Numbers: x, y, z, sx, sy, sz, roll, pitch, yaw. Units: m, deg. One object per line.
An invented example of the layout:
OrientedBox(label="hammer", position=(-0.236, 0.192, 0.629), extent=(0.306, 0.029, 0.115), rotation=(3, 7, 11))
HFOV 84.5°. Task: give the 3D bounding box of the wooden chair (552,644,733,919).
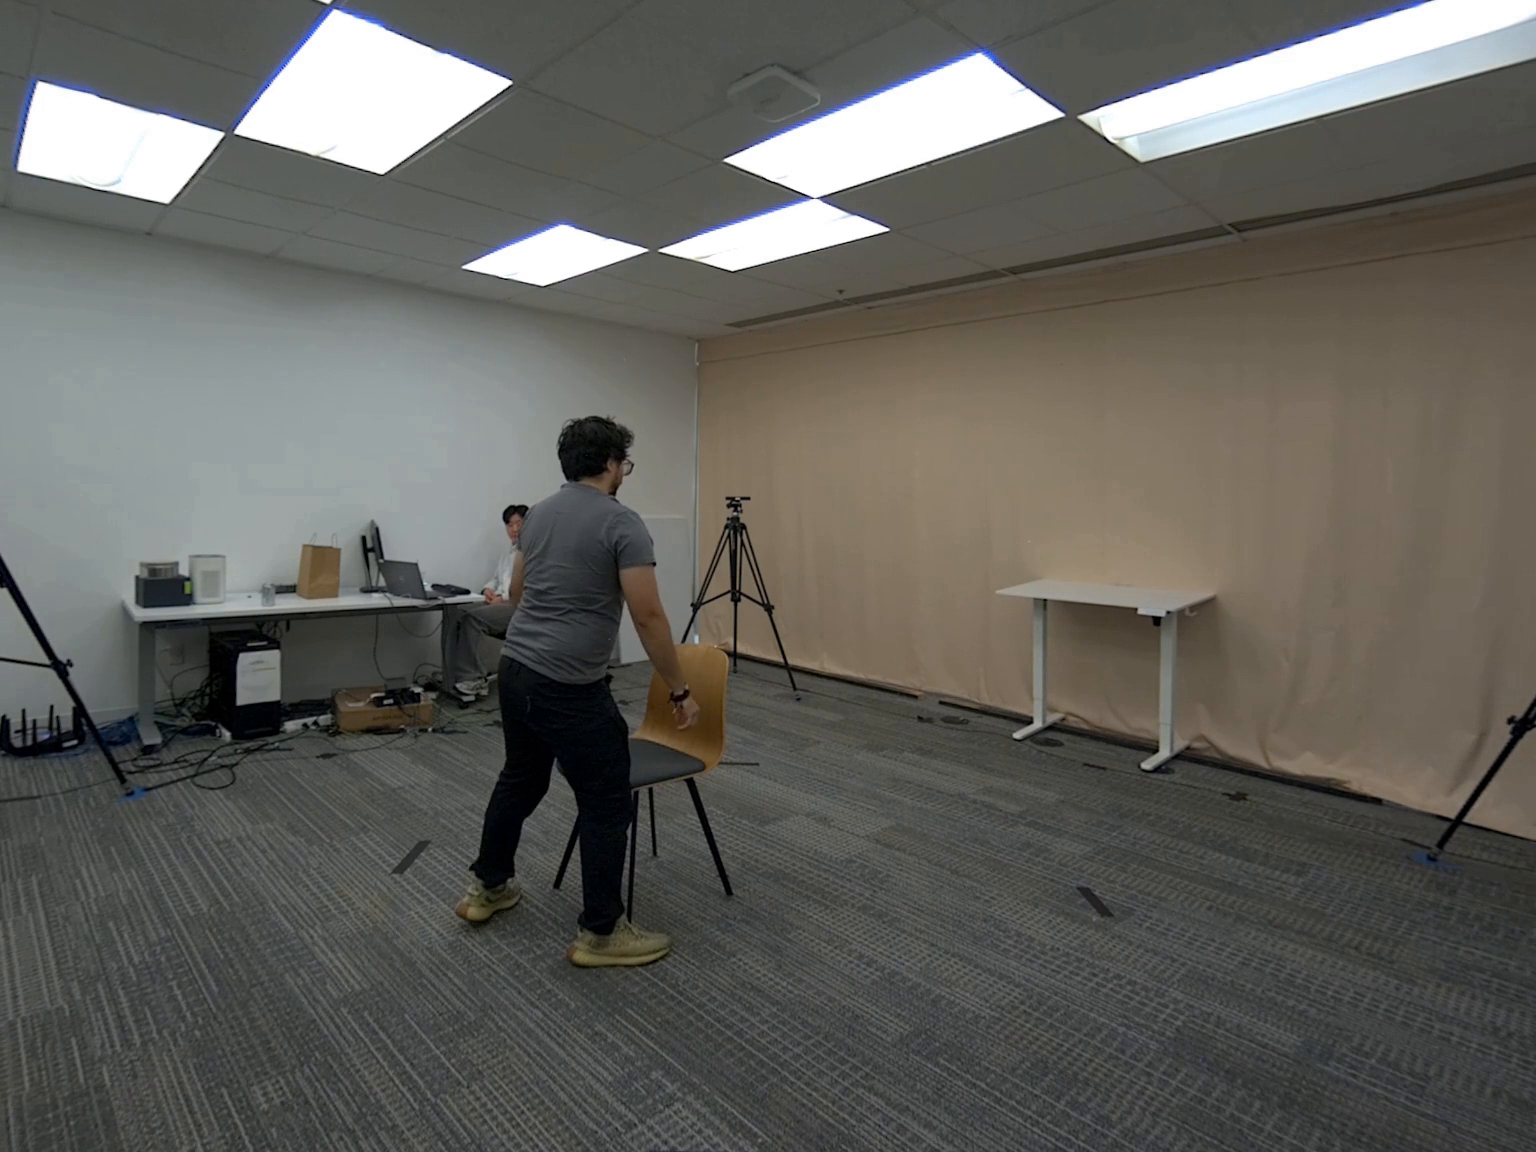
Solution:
OrientedBox(label="wooden chair", position=(-0.440, 0.691, 2.927), extent=(0.510, 0.877, 0.490), rotation=(4, 1, -44))
